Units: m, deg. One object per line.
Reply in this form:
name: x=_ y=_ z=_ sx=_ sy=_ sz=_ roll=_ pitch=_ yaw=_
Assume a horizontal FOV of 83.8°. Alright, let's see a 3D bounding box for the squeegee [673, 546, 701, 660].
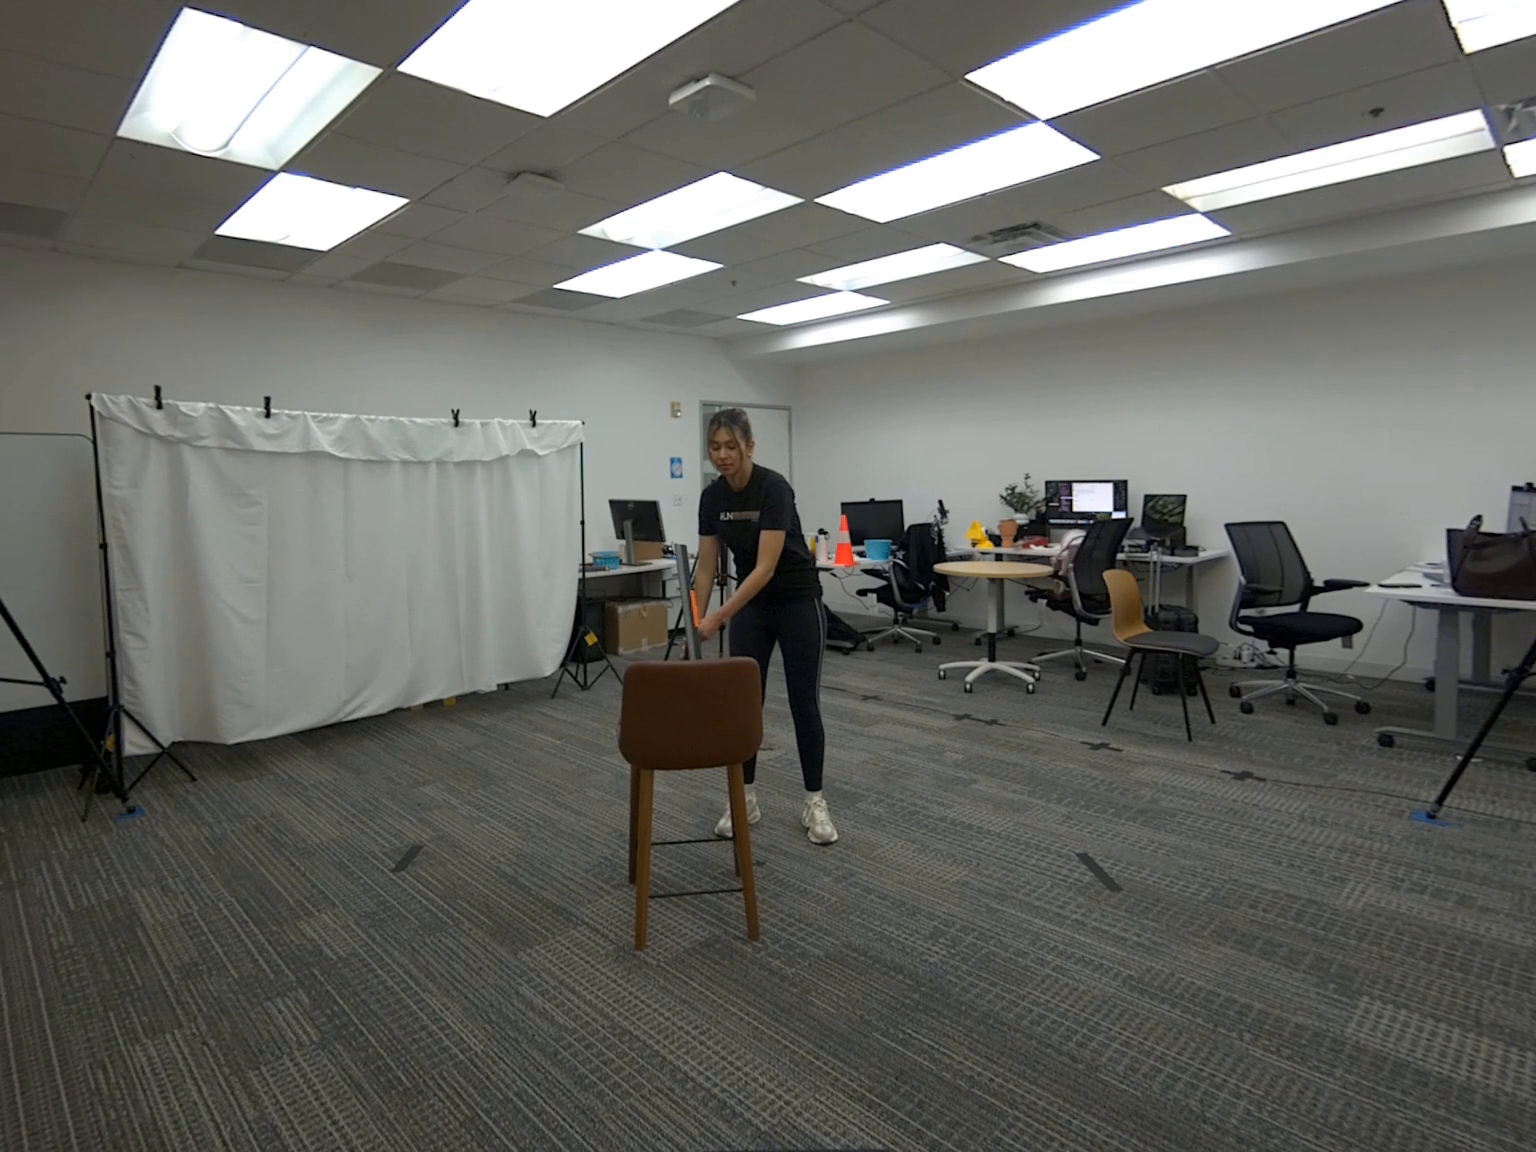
squeegee: x=-0.326 y=0.366 z=3.402 sx=0.053 sy=0.444 sz=1.516 roll=4 pitch=-18 yaw=-3
